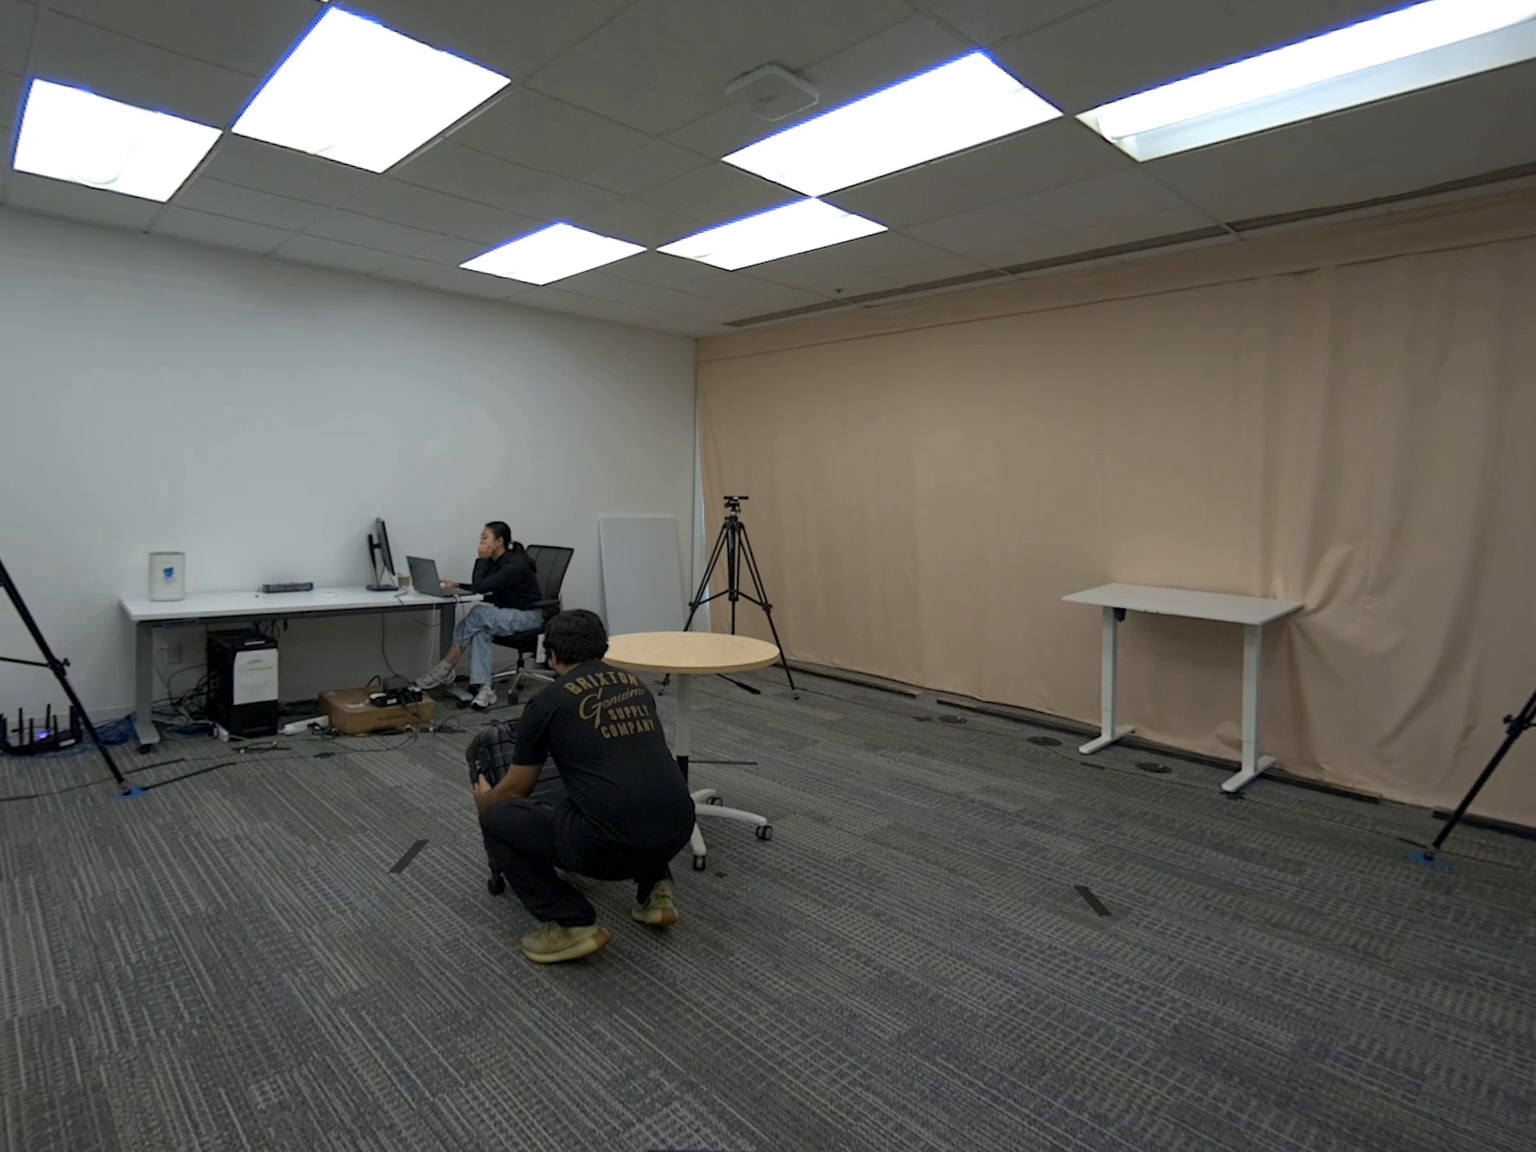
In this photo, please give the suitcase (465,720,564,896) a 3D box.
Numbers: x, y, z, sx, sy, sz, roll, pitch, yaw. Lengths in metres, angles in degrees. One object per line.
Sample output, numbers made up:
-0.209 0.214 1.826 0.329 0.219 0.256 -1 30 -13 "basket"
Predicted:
-0.863 0.801 3.028 0.367 0.558 0.250 -3 -23 -43 "suitcase"
